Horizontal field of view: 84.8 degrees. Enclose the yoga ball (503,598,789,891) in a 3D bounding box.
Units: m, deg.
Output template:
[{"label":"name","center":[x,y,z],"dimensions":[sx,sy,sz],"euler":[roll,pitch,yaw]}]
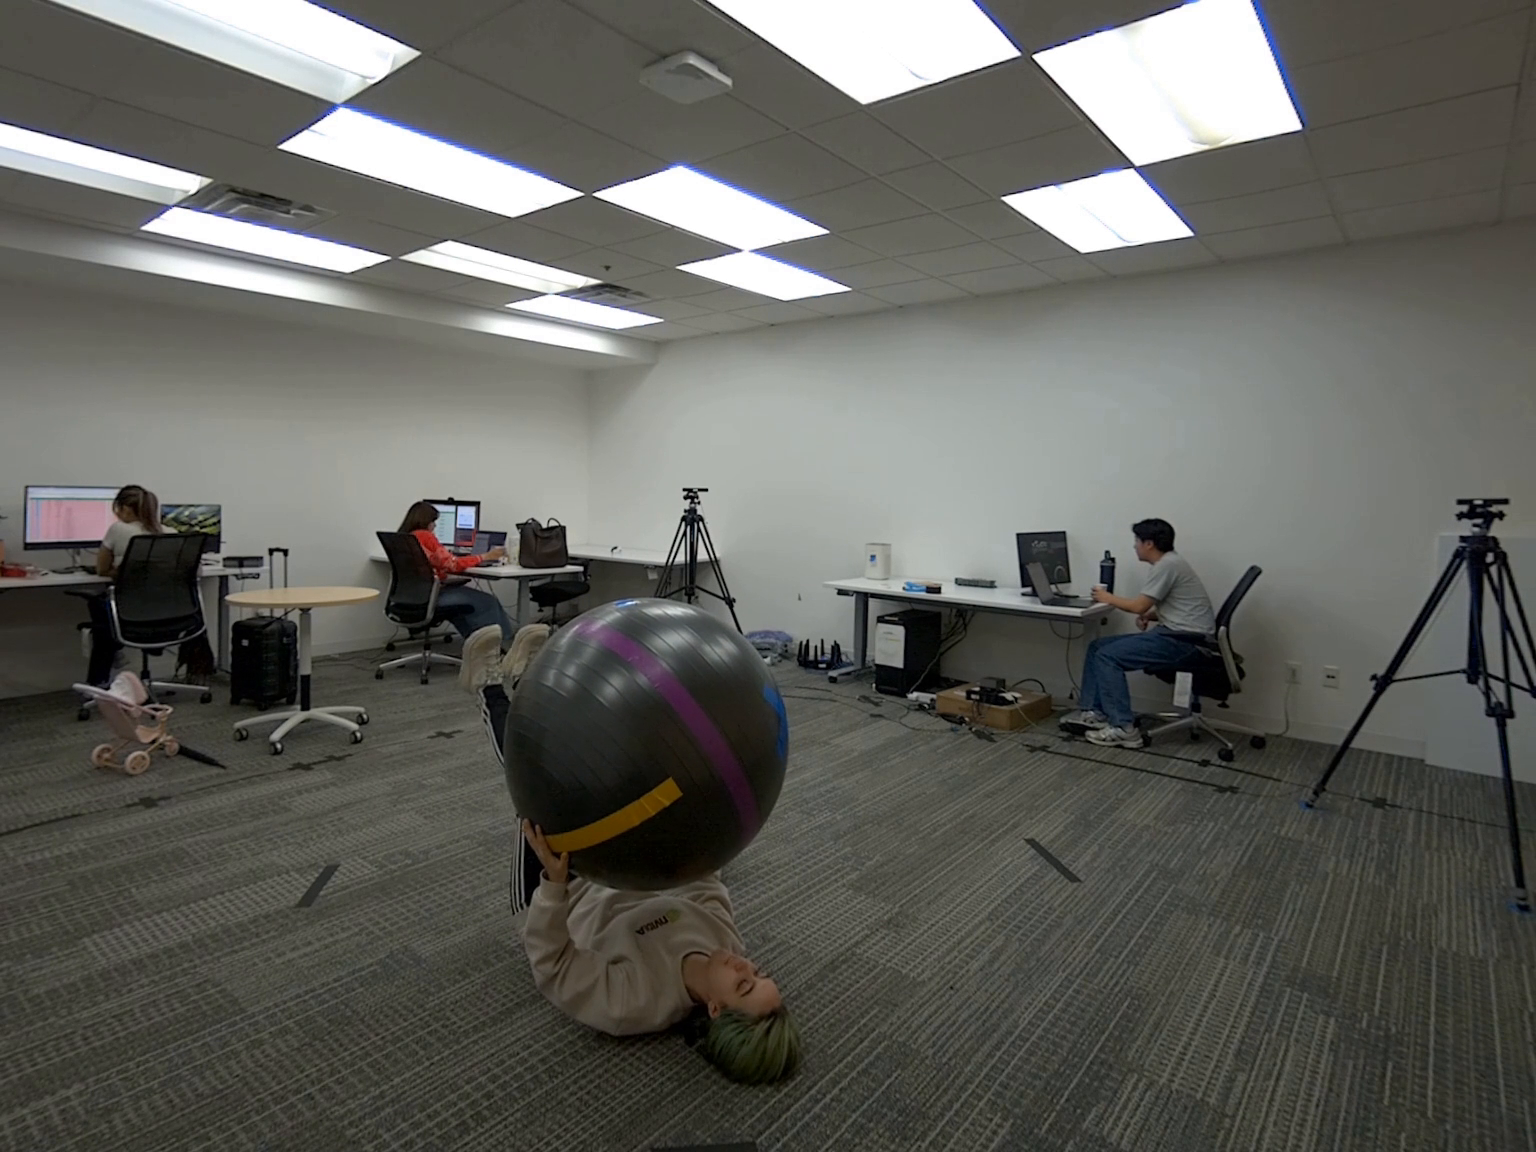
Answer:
[{"label":"yoga ball","center":[-0.326,0.437,2.278],"dimensions":[0.757,0.755,0.762],"euler":[1,4,-2]}]
